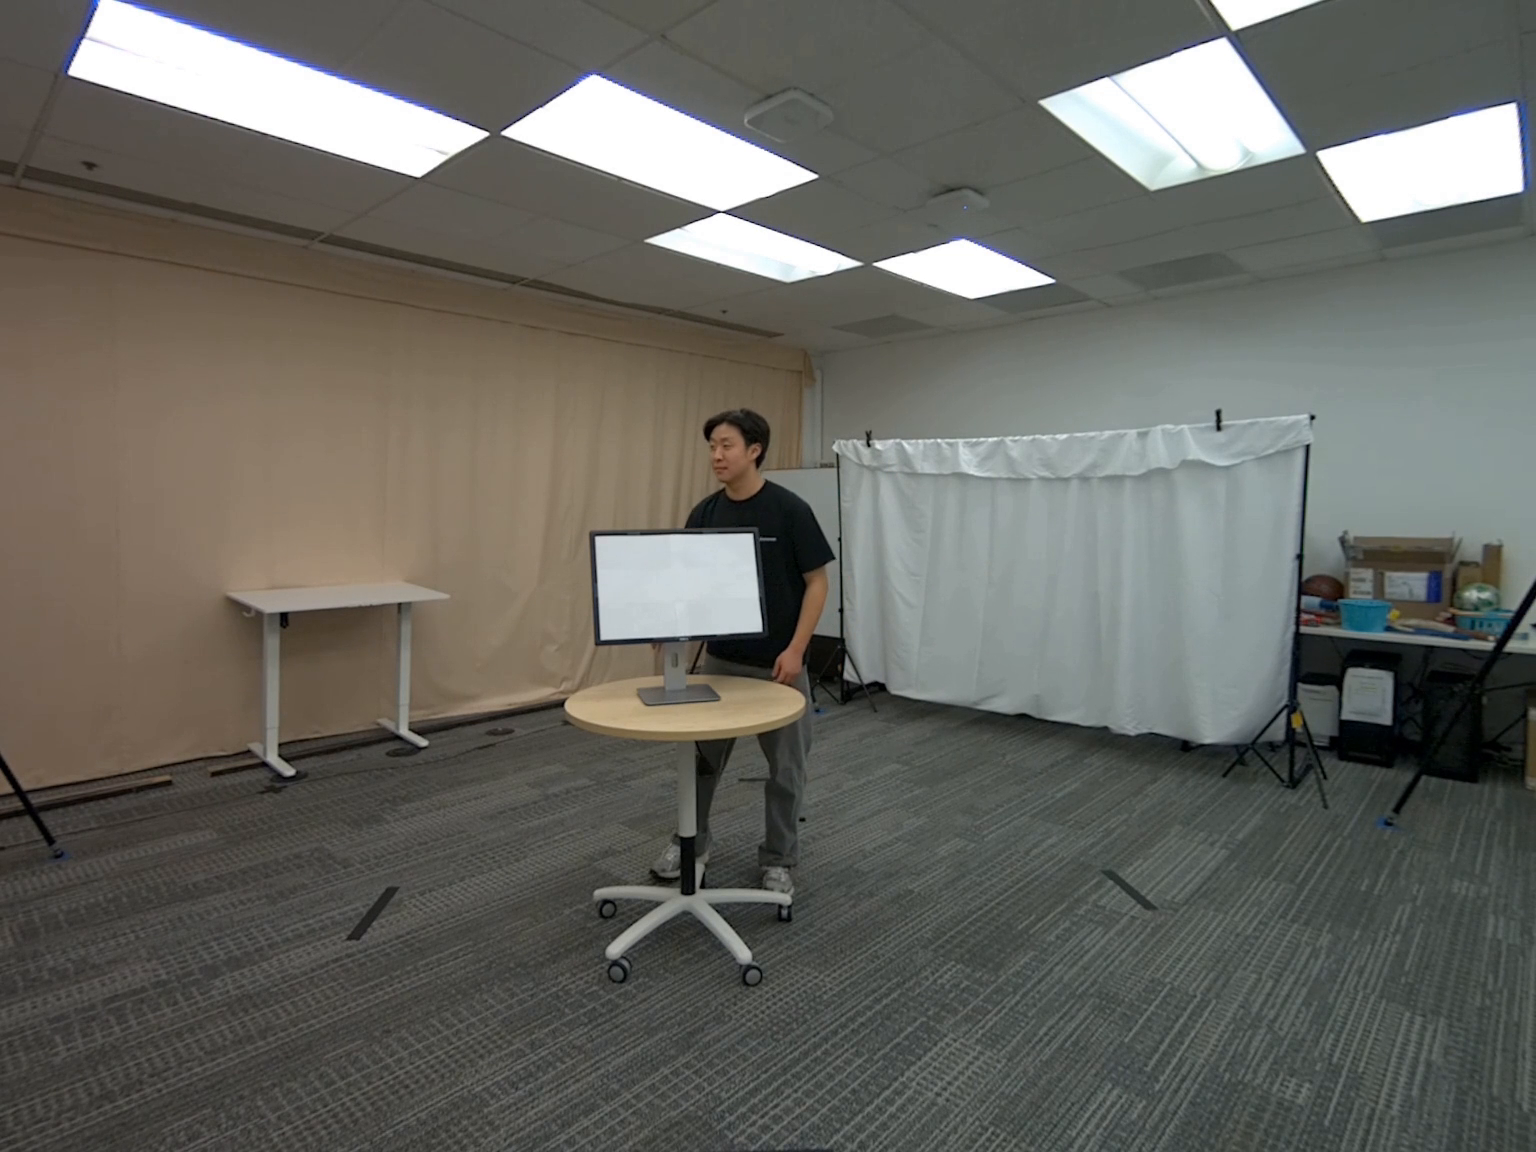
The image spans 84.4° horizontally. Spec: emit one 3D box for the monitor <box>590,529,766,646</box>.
[{"bbox_3d":[-0.288,0.131,2.716,0.554,0.564,0.226,-2,4,-13],"label":"monitor"}]
